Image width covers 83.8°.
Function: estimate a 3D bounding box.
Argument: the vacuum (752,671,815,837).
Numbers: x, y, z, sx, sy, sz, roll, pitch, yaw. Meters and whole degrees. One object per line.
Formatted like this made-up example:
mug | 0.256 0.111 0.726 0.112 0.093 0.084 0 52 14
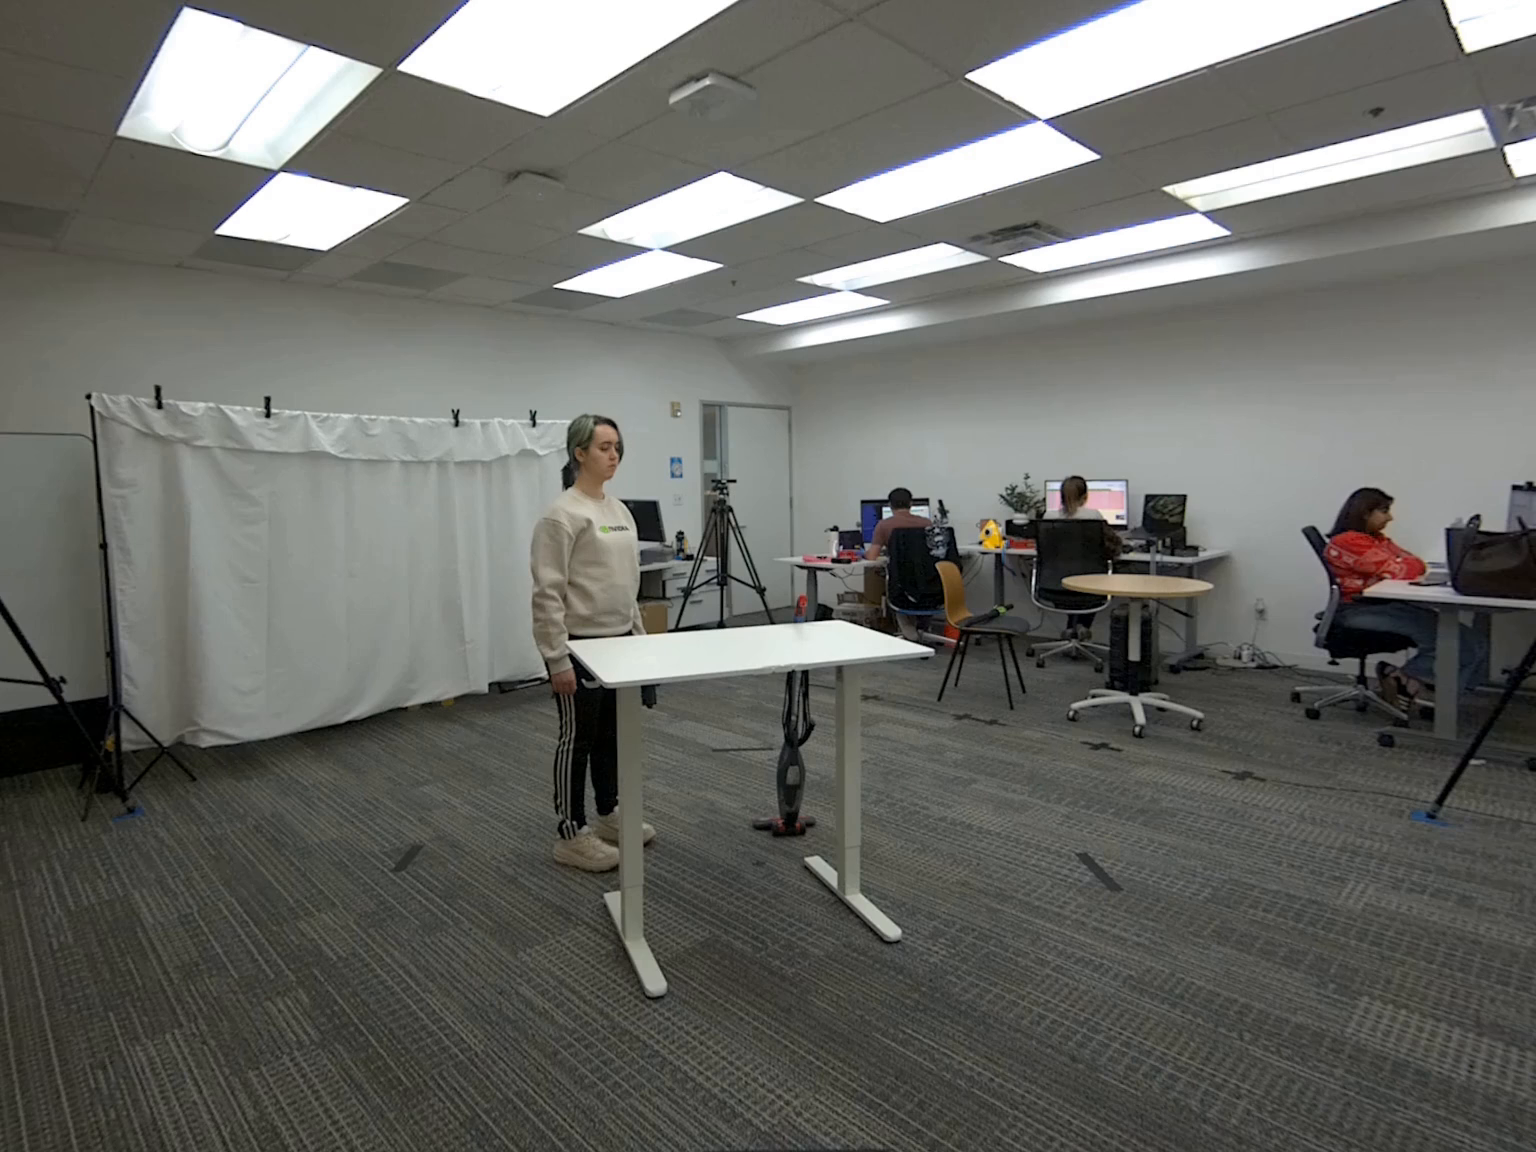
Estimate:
vacuum | 0.092 0.543 3.197 0.251 1.028 0.147 -1 25 -5
